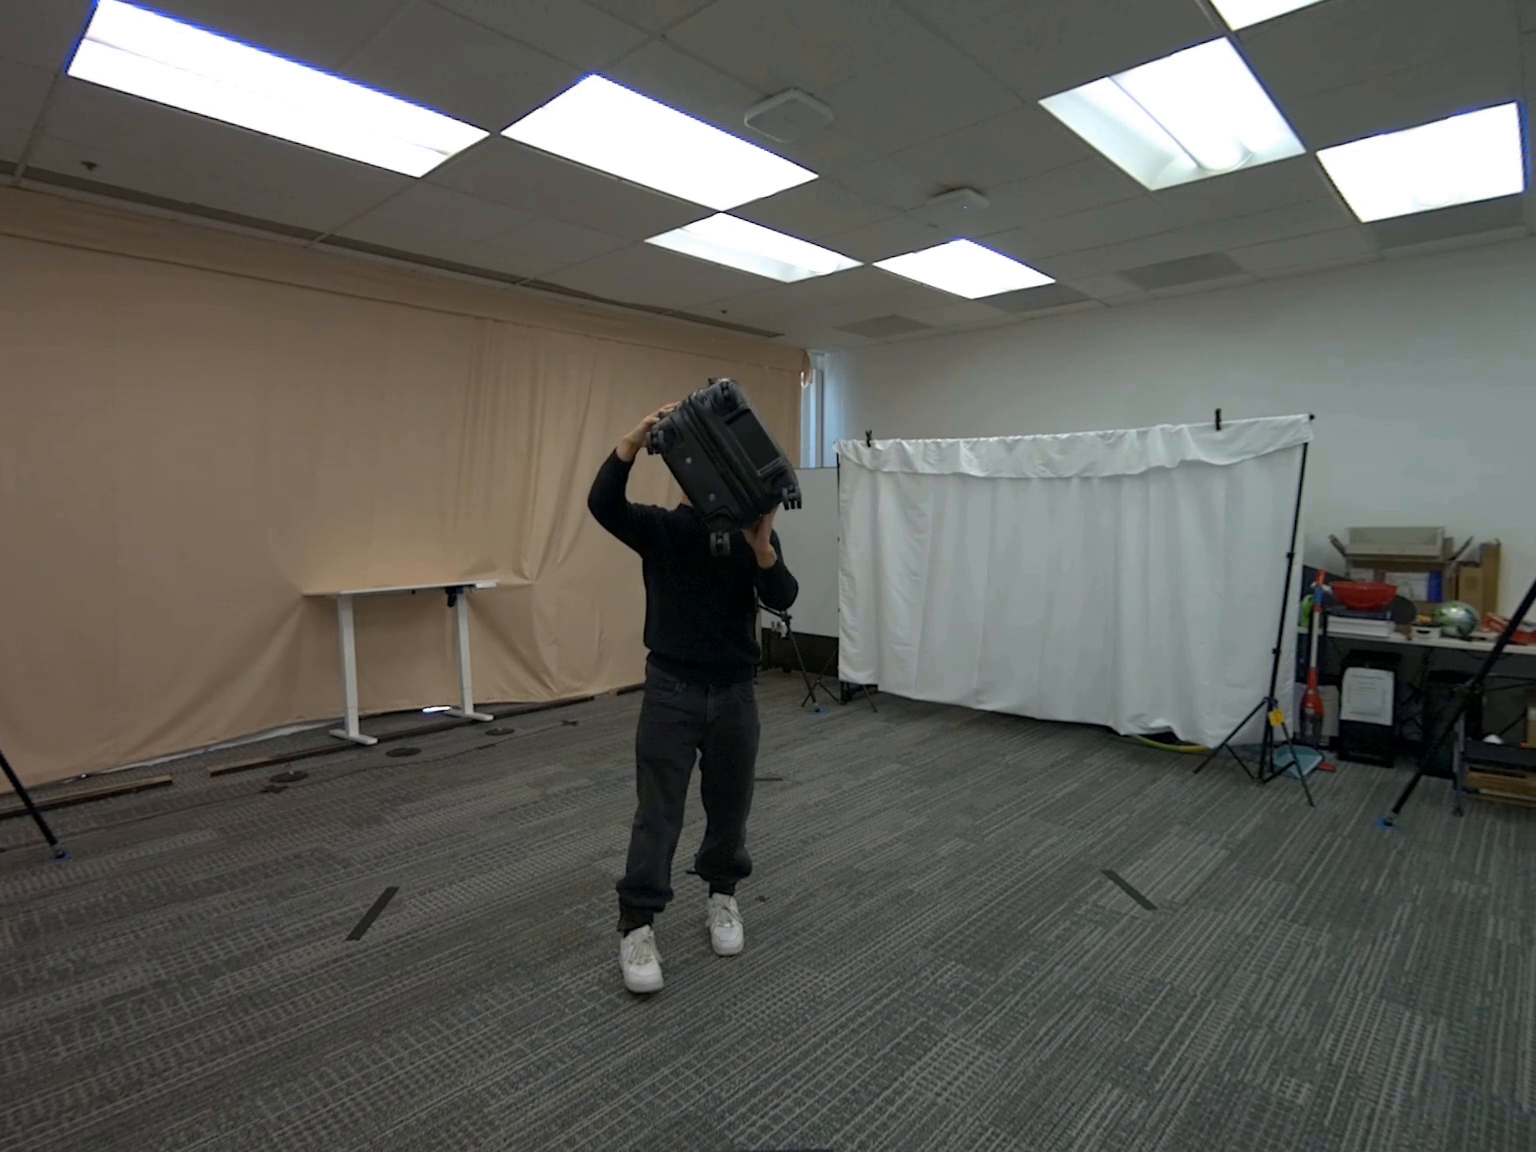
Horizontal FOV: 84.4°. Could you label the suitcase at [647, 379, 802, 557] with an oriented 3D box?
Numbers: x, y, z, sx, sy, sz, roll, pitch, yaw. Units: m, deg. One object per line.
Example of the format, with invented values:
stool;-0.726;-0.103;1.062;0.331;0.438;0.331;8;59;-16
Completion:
suitcase;-0.112;-0.330;2.268;0.250;0.371;0.552;-31;11;10
